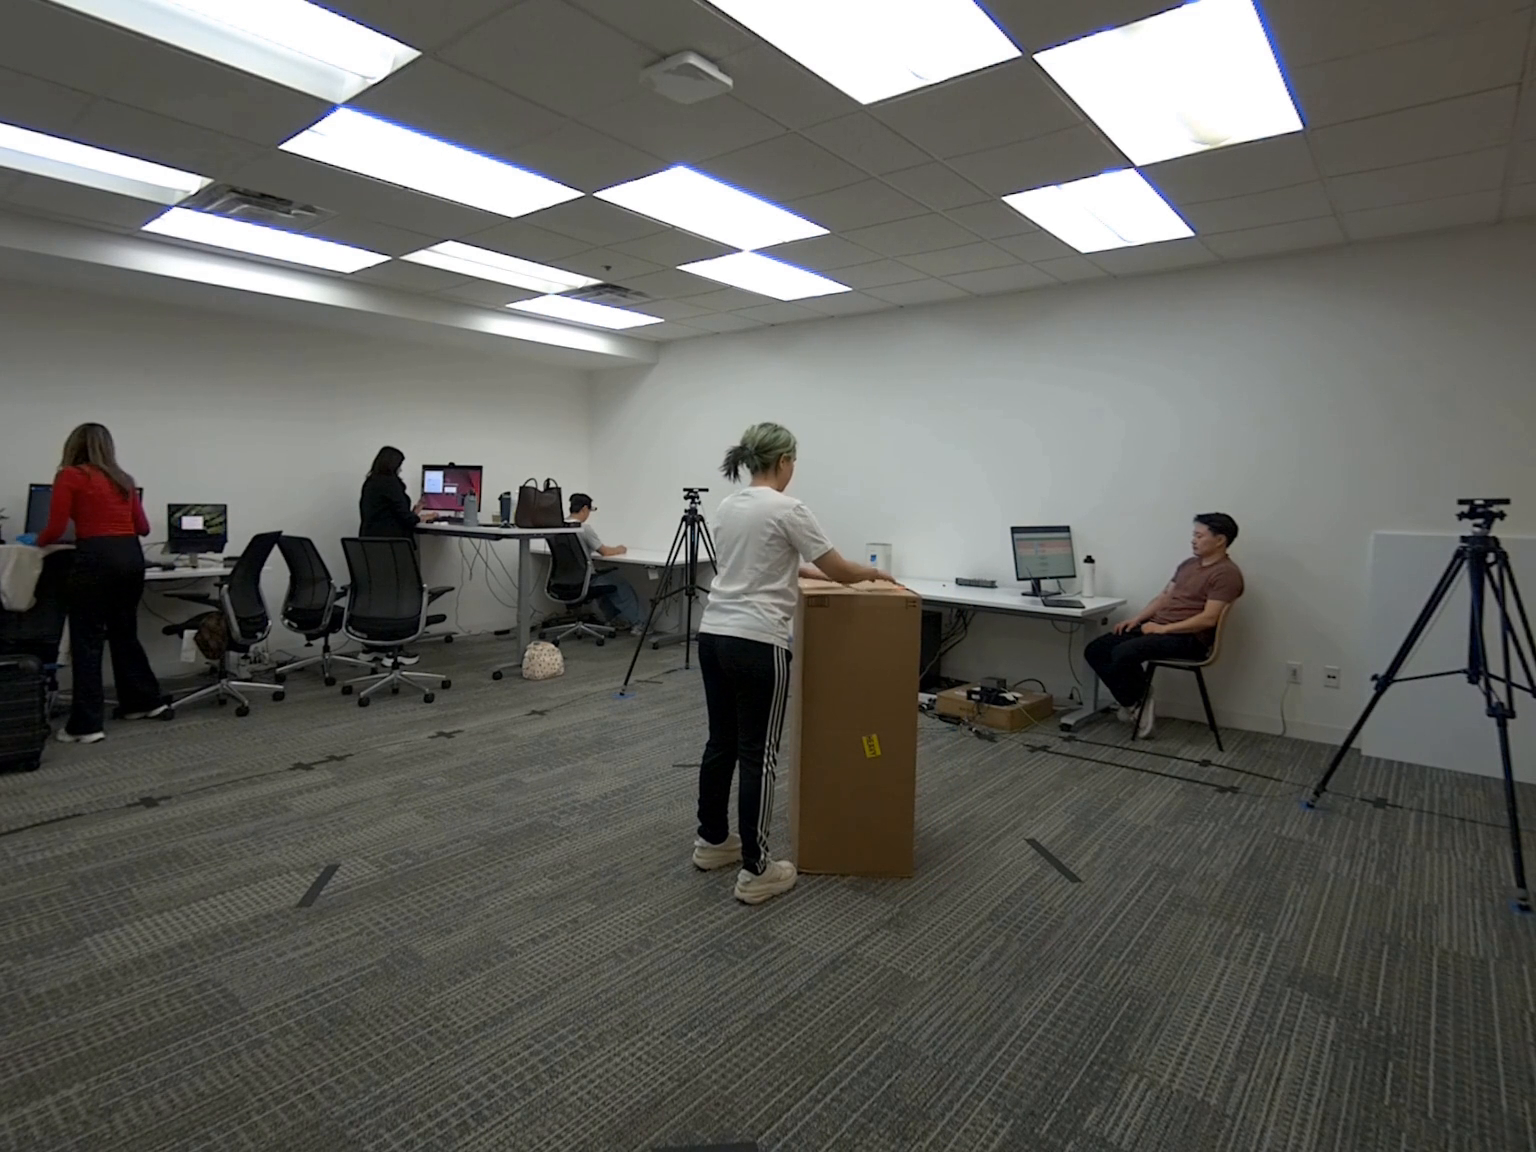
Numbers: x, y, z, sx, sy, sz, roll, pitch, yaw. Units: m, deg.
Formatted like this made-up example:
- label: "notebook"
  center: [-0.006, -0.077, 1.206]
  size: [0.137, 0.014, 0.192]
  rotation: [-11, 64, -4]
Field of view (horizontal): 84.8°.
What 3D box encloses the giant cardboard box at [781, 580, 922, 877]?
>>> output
- label: "giant cardboard box"
  center: [0.312, 0.546, 3.348]
  size: [0.446, 1.025, 0.586]
  rotation: [1, 3, -2]
